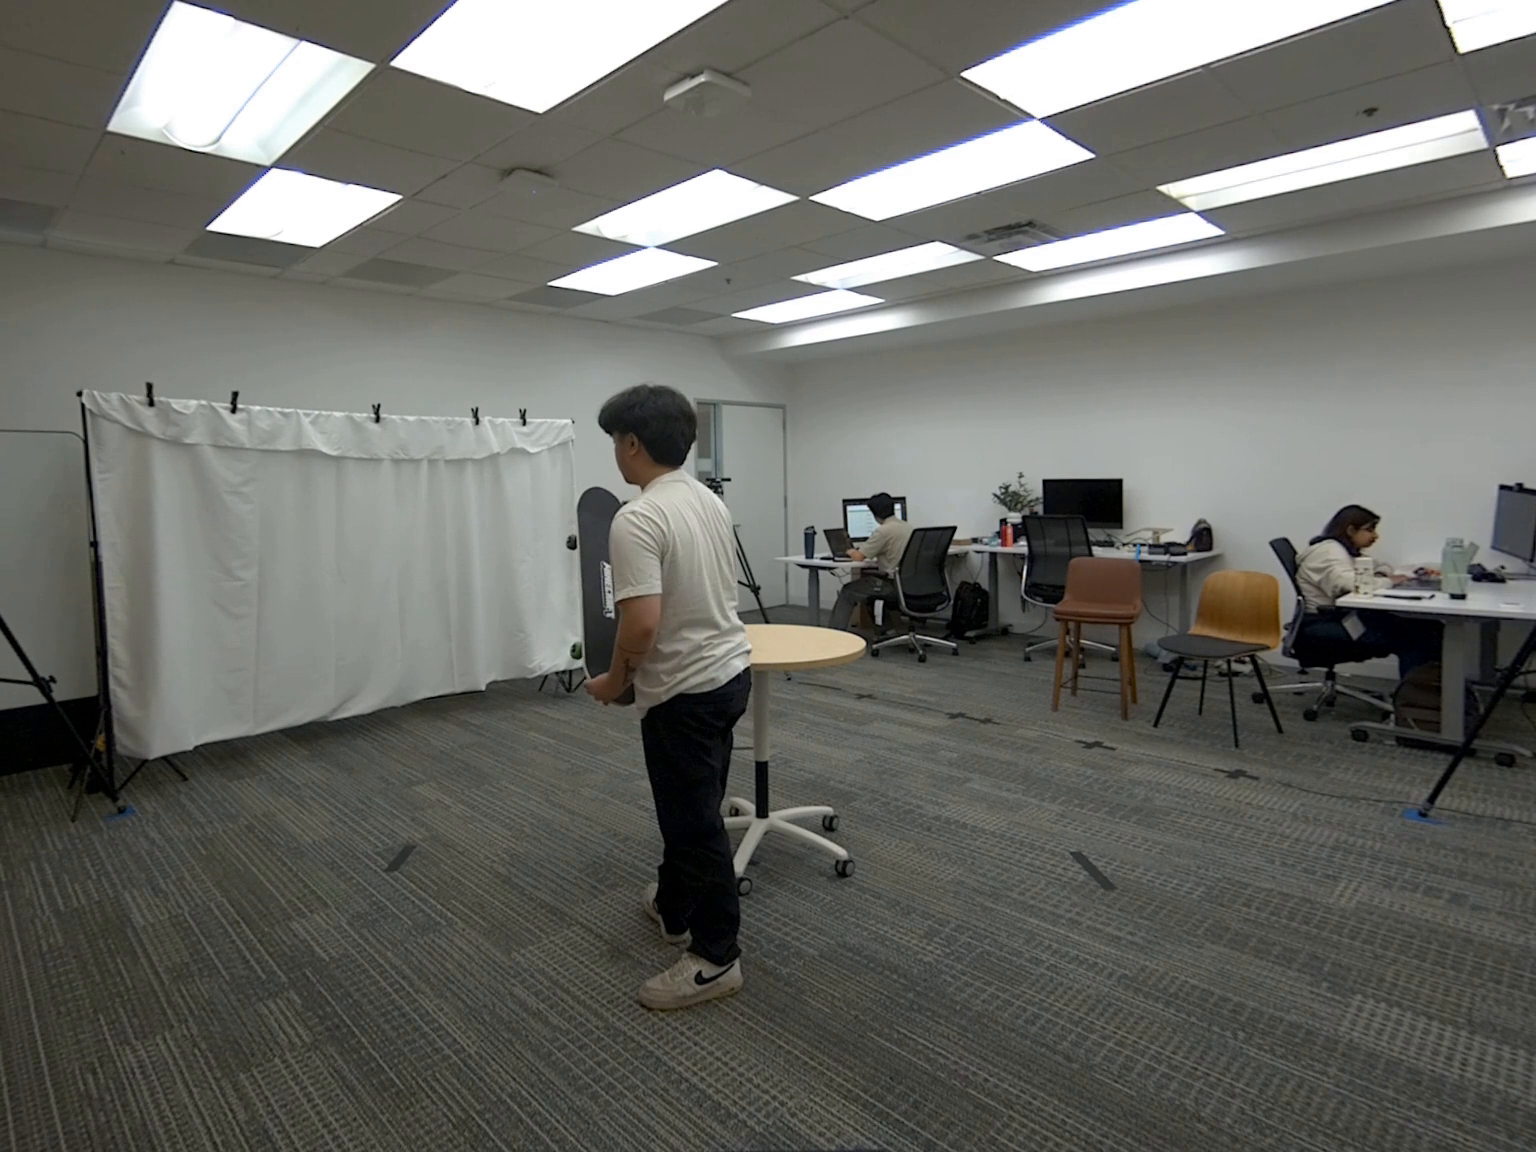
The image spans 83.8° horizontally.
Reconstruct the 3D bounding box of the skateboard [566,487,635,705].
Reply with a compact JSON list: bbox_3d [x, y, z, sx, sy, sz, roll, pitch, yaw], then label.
[{"bbox_3d":[-0.513,0.061,2.640,0.187,0.809,0.111,22,-47,-37],"label":"skateboard"}]
